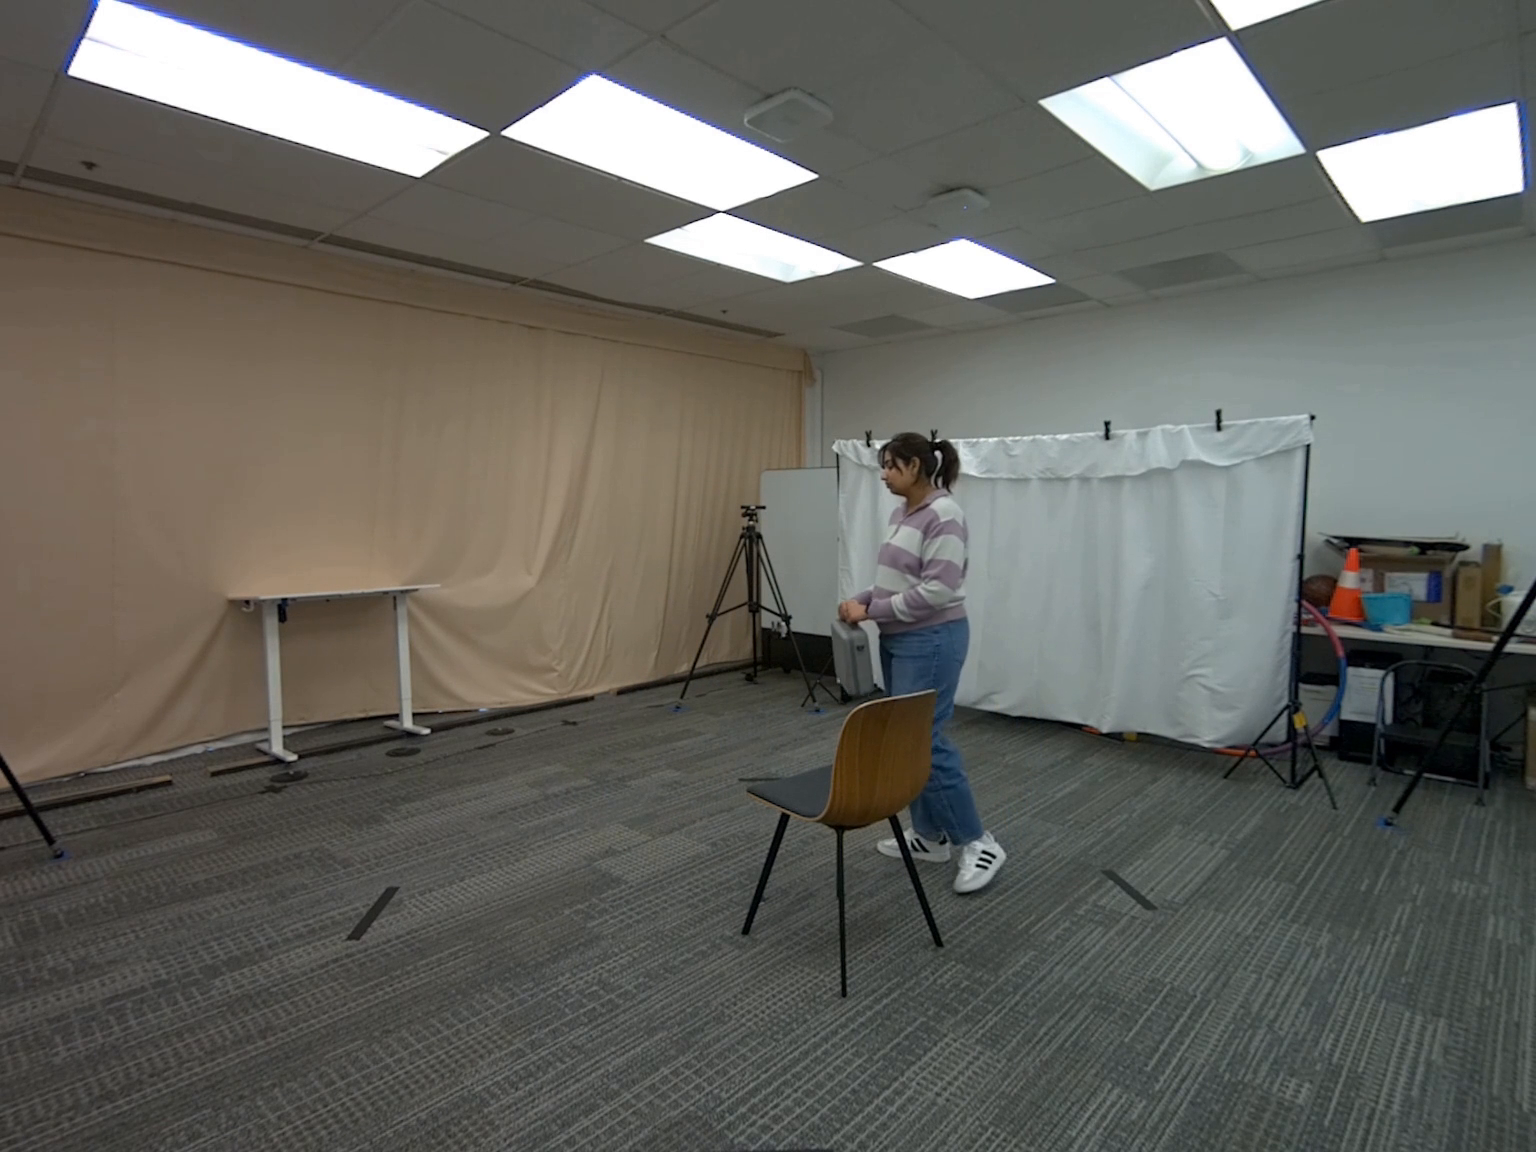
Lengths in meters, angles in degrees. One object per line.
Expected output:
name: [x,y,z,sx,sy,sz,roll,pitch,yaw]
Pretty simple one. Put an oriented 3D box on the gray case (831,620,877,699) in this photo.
gray case: [0.336,0.312,3.283,0.104,0.258,0.260,-9,12,-5]
